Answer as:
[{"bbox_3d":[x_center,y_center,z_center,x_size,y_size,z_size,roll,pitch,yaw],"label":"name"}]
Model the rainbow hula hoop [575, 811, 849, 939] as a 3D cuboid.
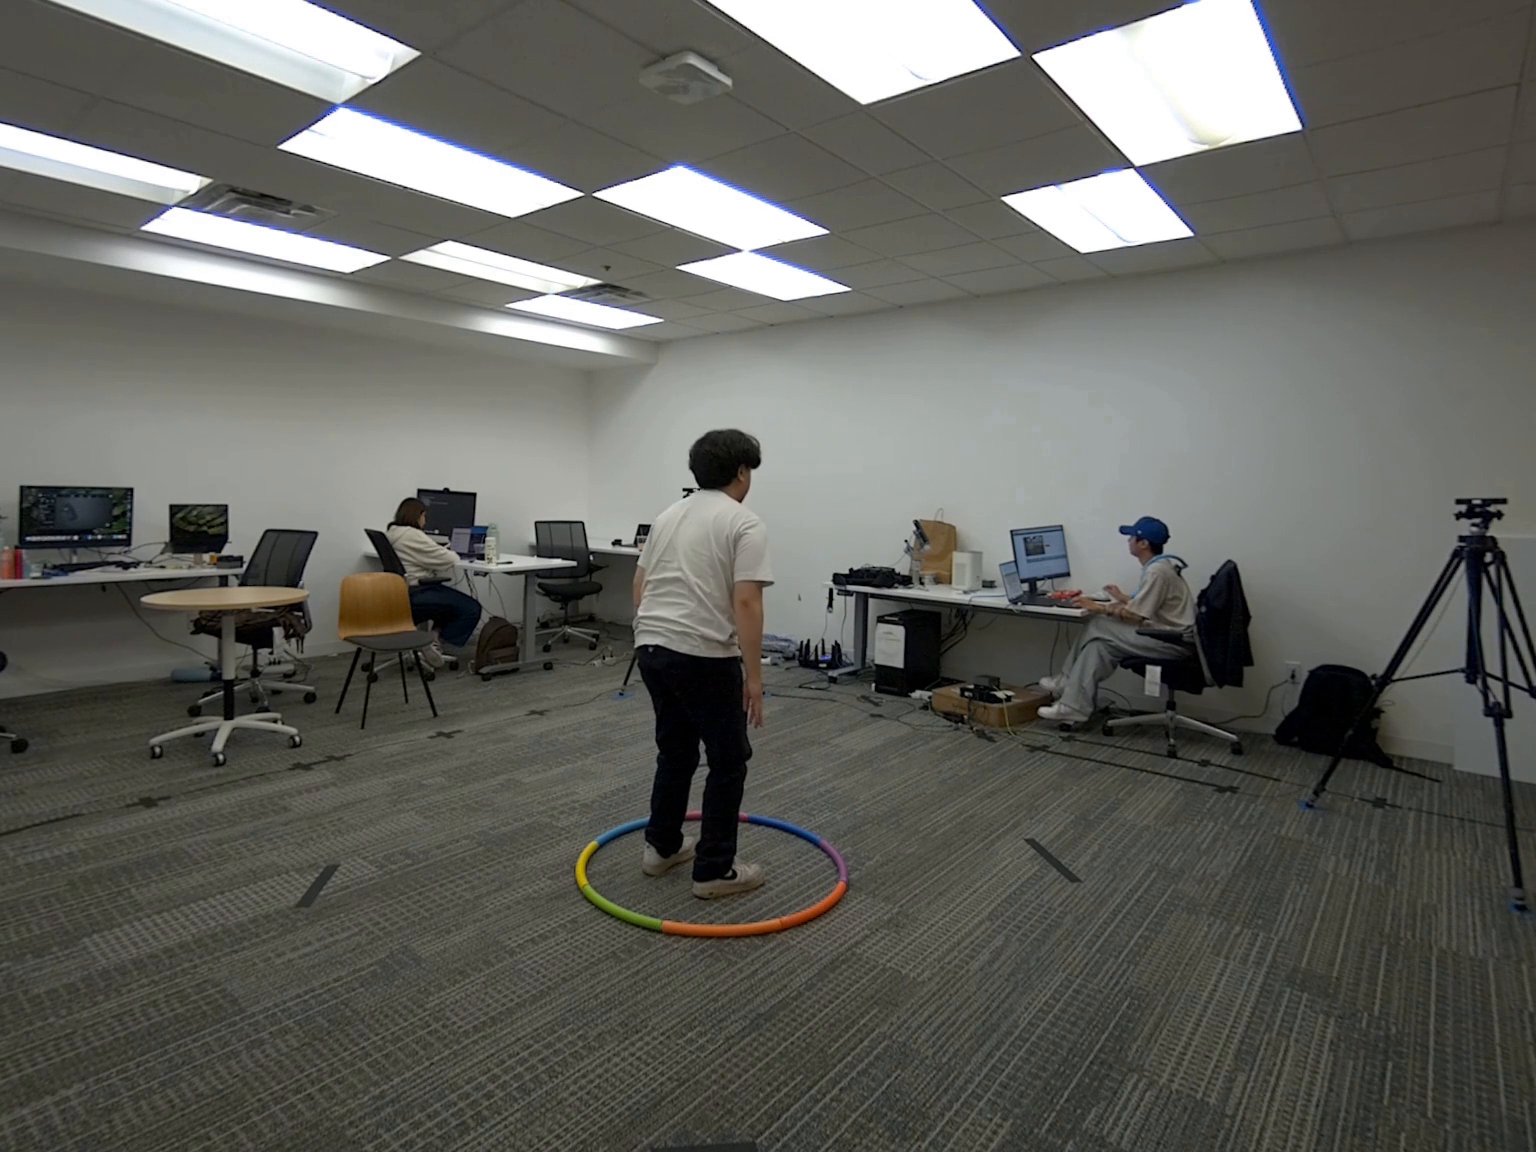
[{"bbox_3d":[-0.212,1.044,3.107,0.984,0.051,0.990,1,5,-2],"label":"rainbow hula hoop"}]
